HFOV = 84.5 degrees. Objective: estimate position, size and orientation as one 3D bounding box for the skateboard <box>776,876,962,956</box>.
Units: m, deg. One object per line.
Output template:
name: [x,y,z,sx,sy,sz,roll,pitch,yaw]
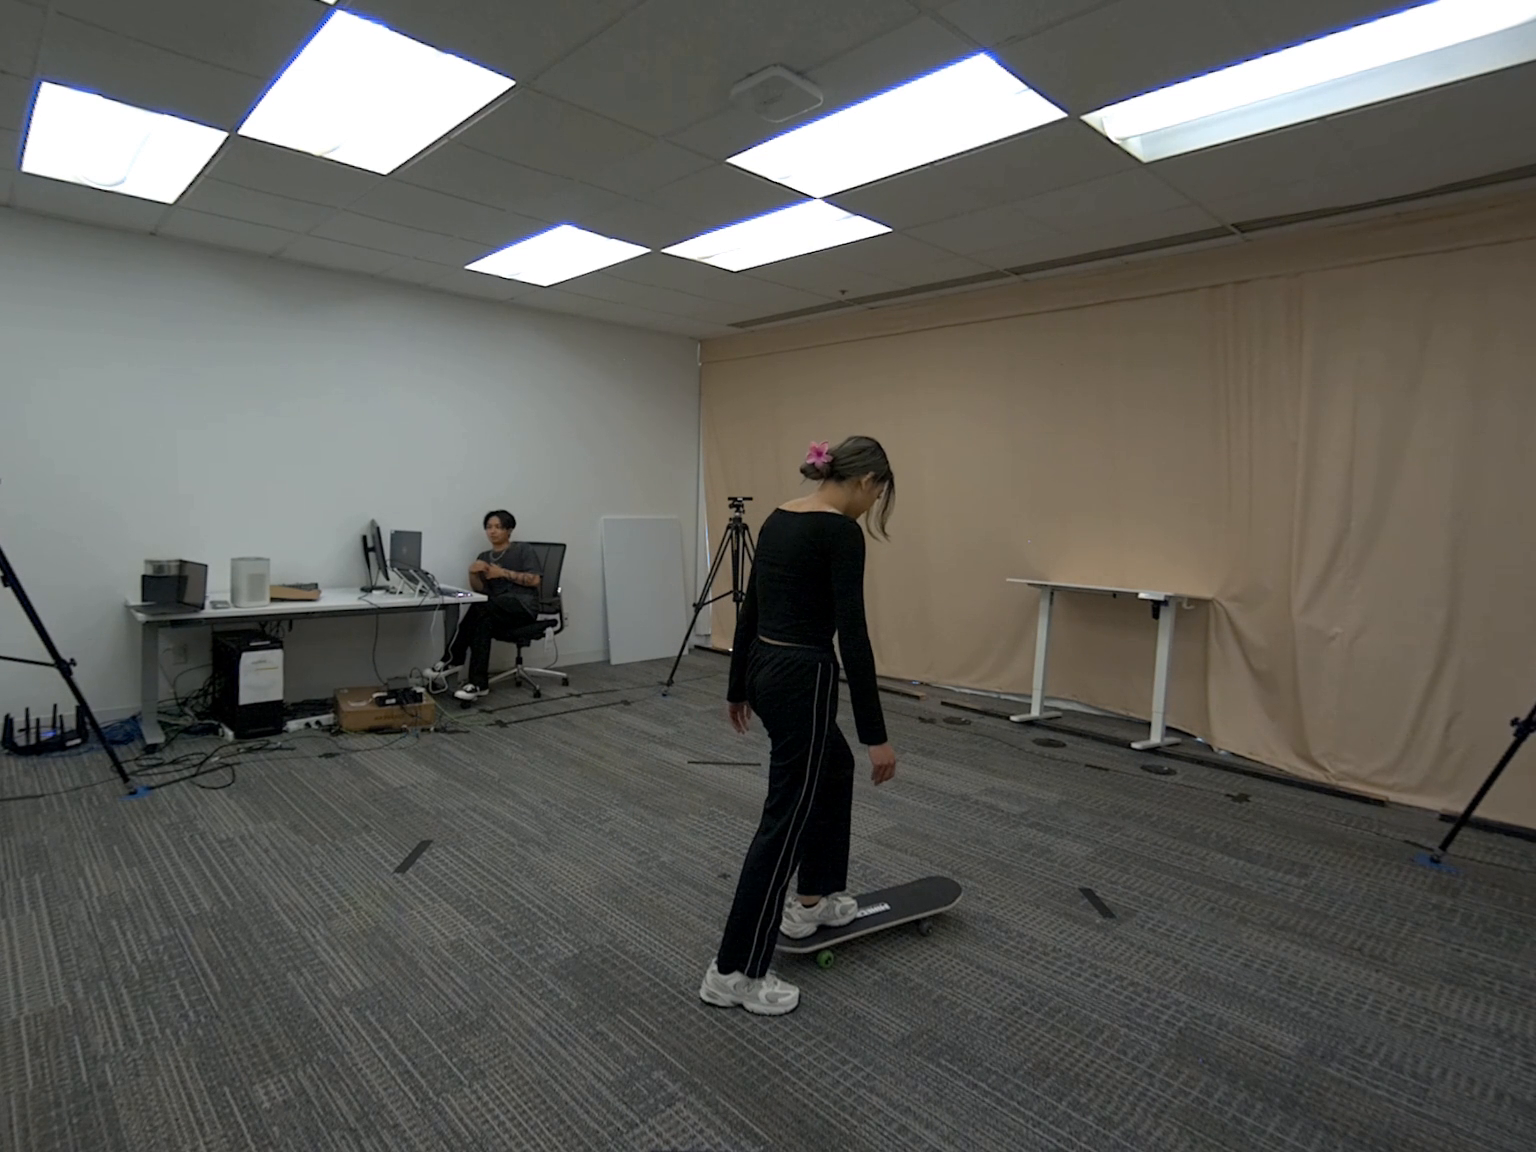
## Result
skateboard: [0.297,1.105,2.670,0.770,0.110,0.198,-2,7,-30]
